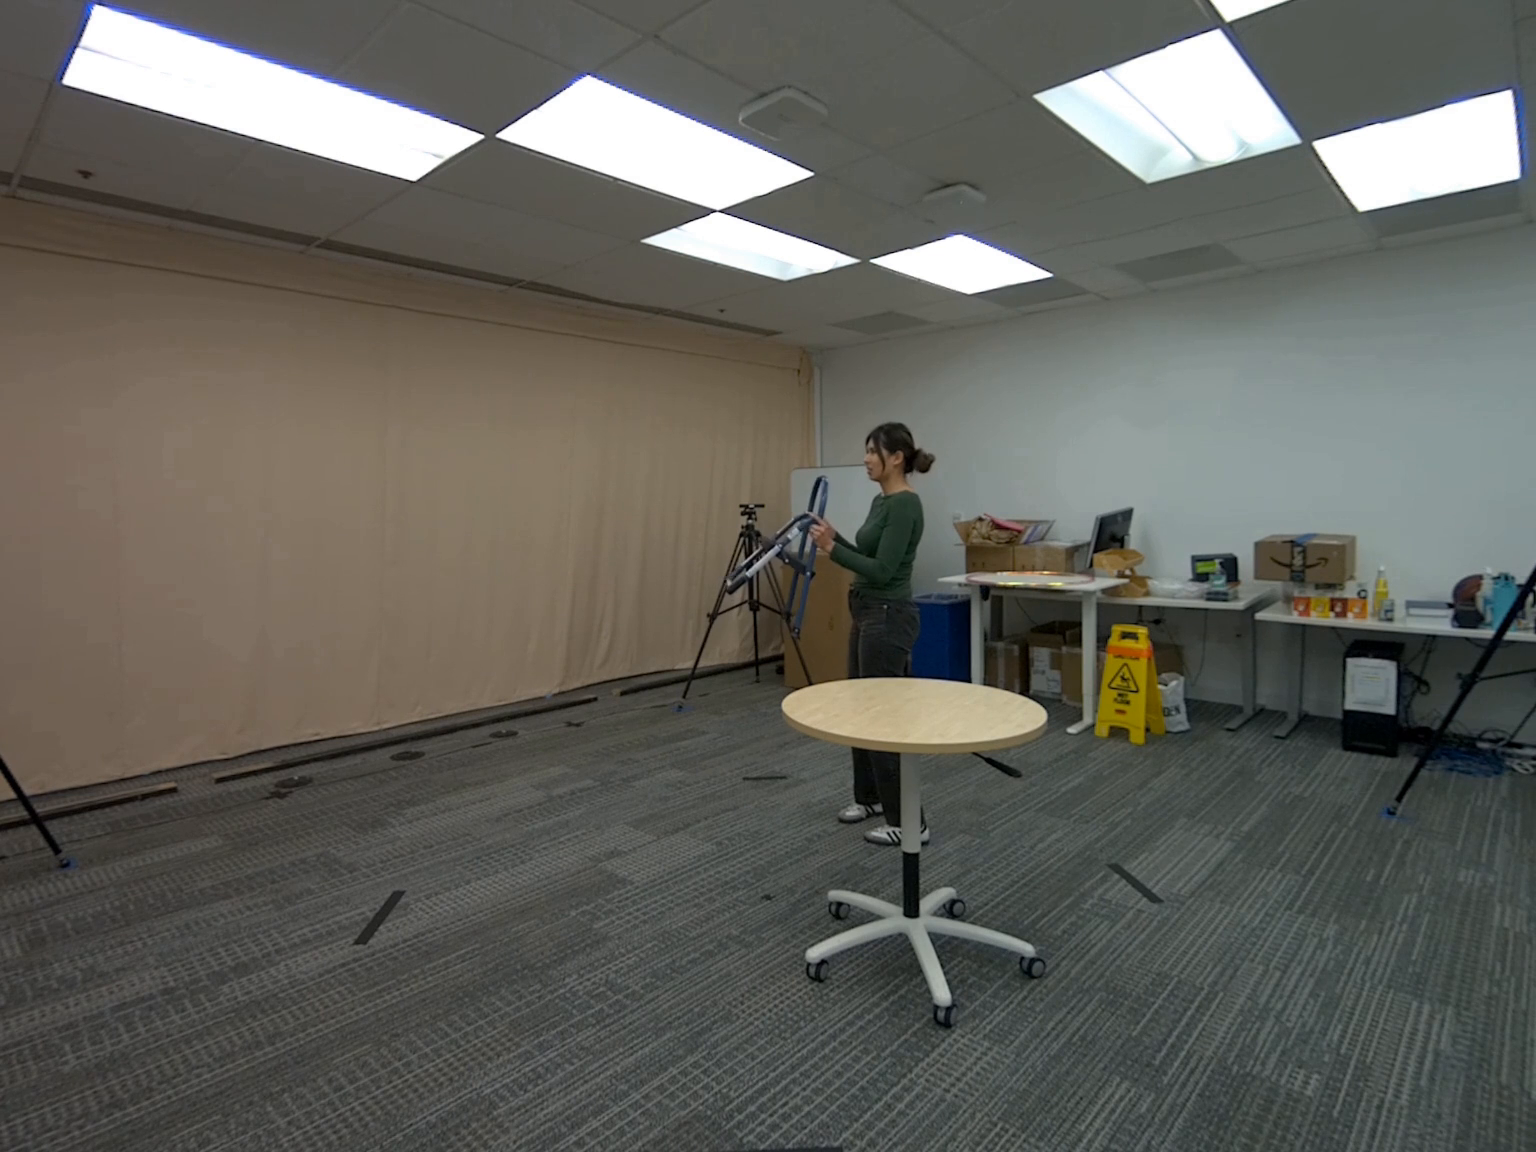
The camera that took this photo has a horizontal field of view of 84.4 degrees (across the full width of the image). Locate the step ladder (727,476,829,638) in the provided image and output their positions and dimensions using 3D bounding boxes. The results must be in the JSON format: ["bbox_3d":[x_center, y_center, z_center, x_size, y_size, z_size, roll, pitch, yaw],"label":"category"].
[{"bbox_3d":[0.131,-0.116,3.523,0.347,0.606,0.433,32,3,-6],"label":"step ladder"}]
